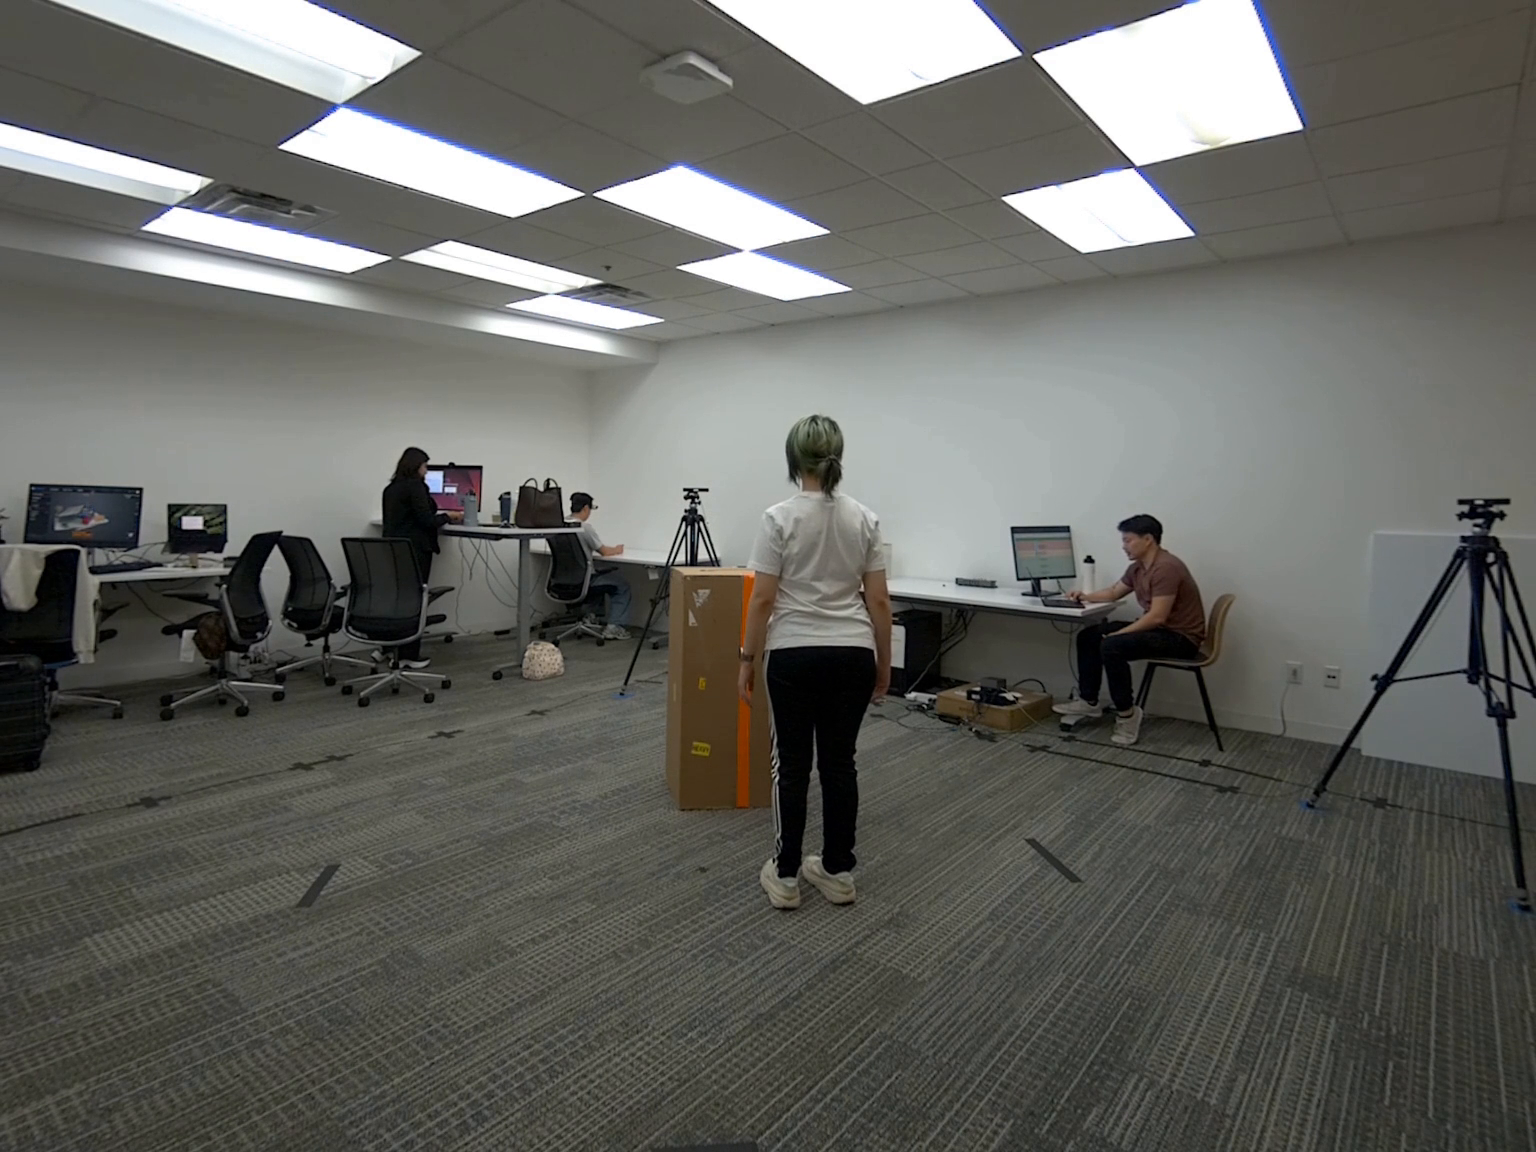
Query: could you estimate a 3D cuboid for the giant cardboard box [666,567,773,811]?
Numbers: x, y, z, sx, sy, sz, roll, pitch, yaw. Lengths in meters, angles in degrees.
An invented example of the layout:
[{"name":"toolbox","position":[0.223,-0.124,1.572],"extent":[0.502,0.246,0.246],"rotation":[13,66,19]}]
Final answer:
[{"name":"giant cardboard box","position":[-0.162,0.486,3.913],"extent":[0.576,1.025,0.454],"rotation":[1,2,-14]}]
